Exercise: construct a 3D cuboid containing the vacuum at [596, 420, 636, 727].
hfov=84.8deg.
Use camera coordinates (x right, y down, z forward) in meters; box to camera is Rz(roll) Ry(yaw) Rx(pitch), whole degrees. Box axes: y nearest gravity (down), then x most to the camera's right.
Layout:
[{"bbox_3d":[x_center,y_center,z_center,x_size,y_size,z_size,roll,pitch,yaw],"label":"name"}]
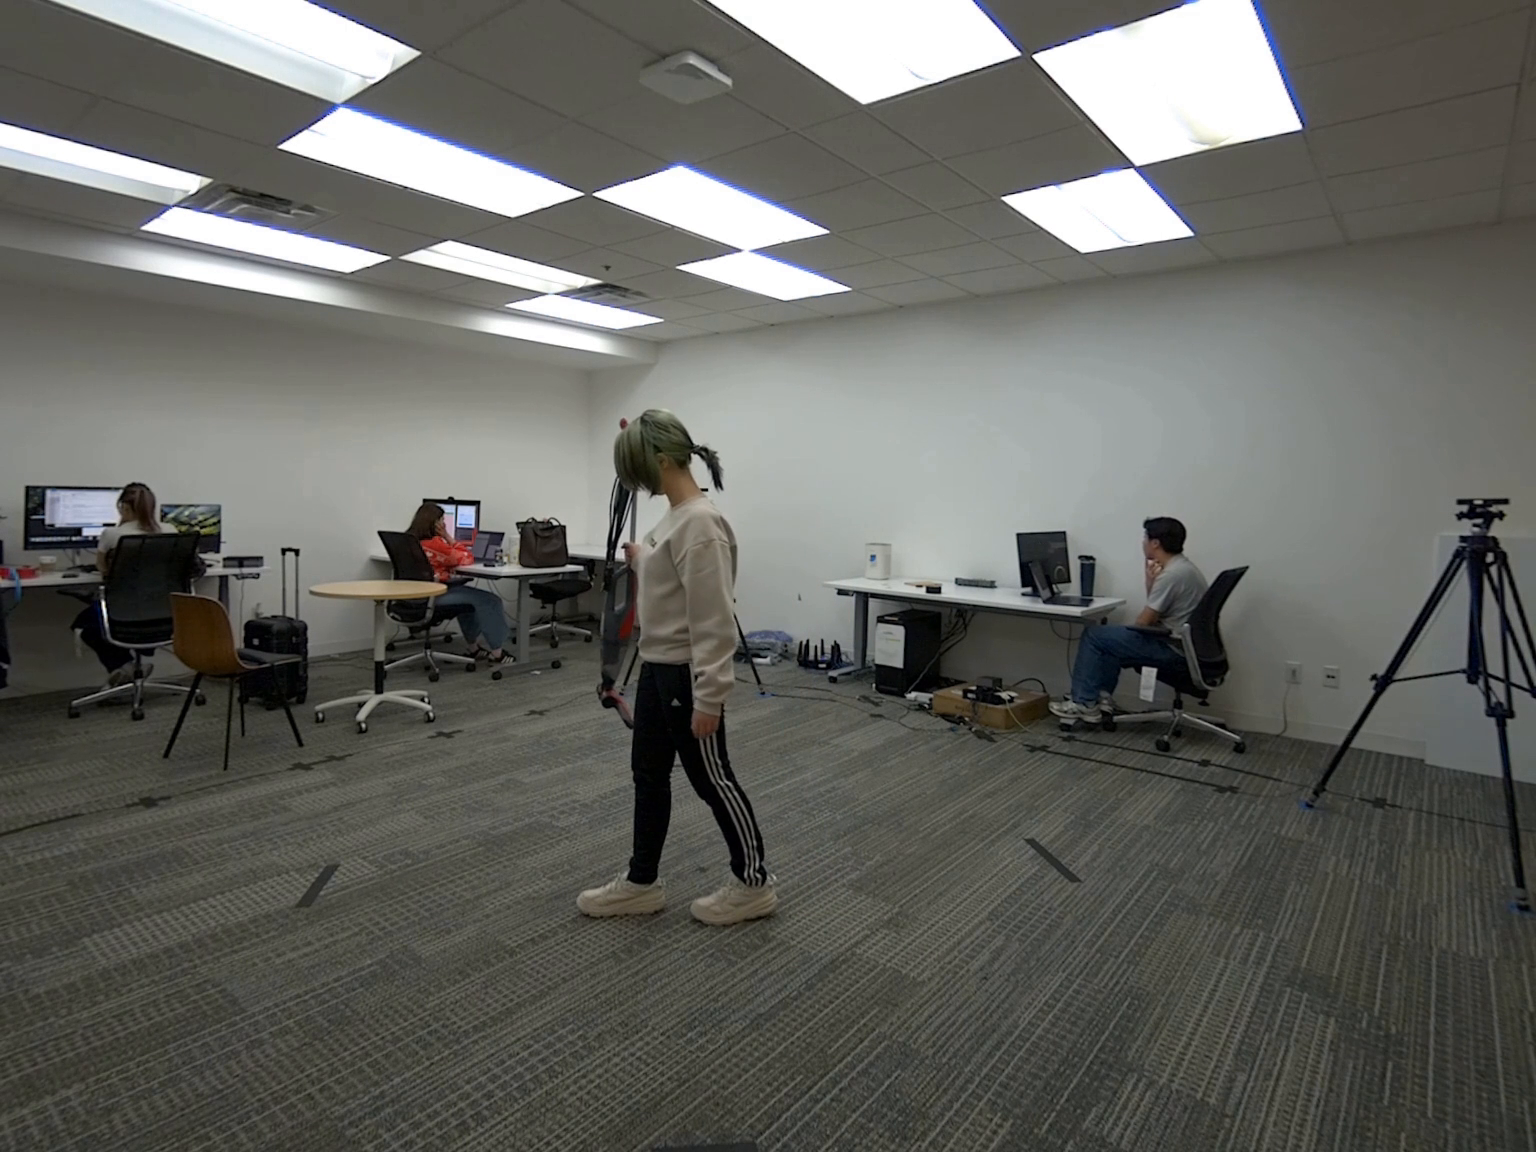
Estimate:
[{"bbox_3d":[-0.551,-0.030,3.055,0.141,1.037,0.260,-1,14,-20],"label":"vacuum"}]
